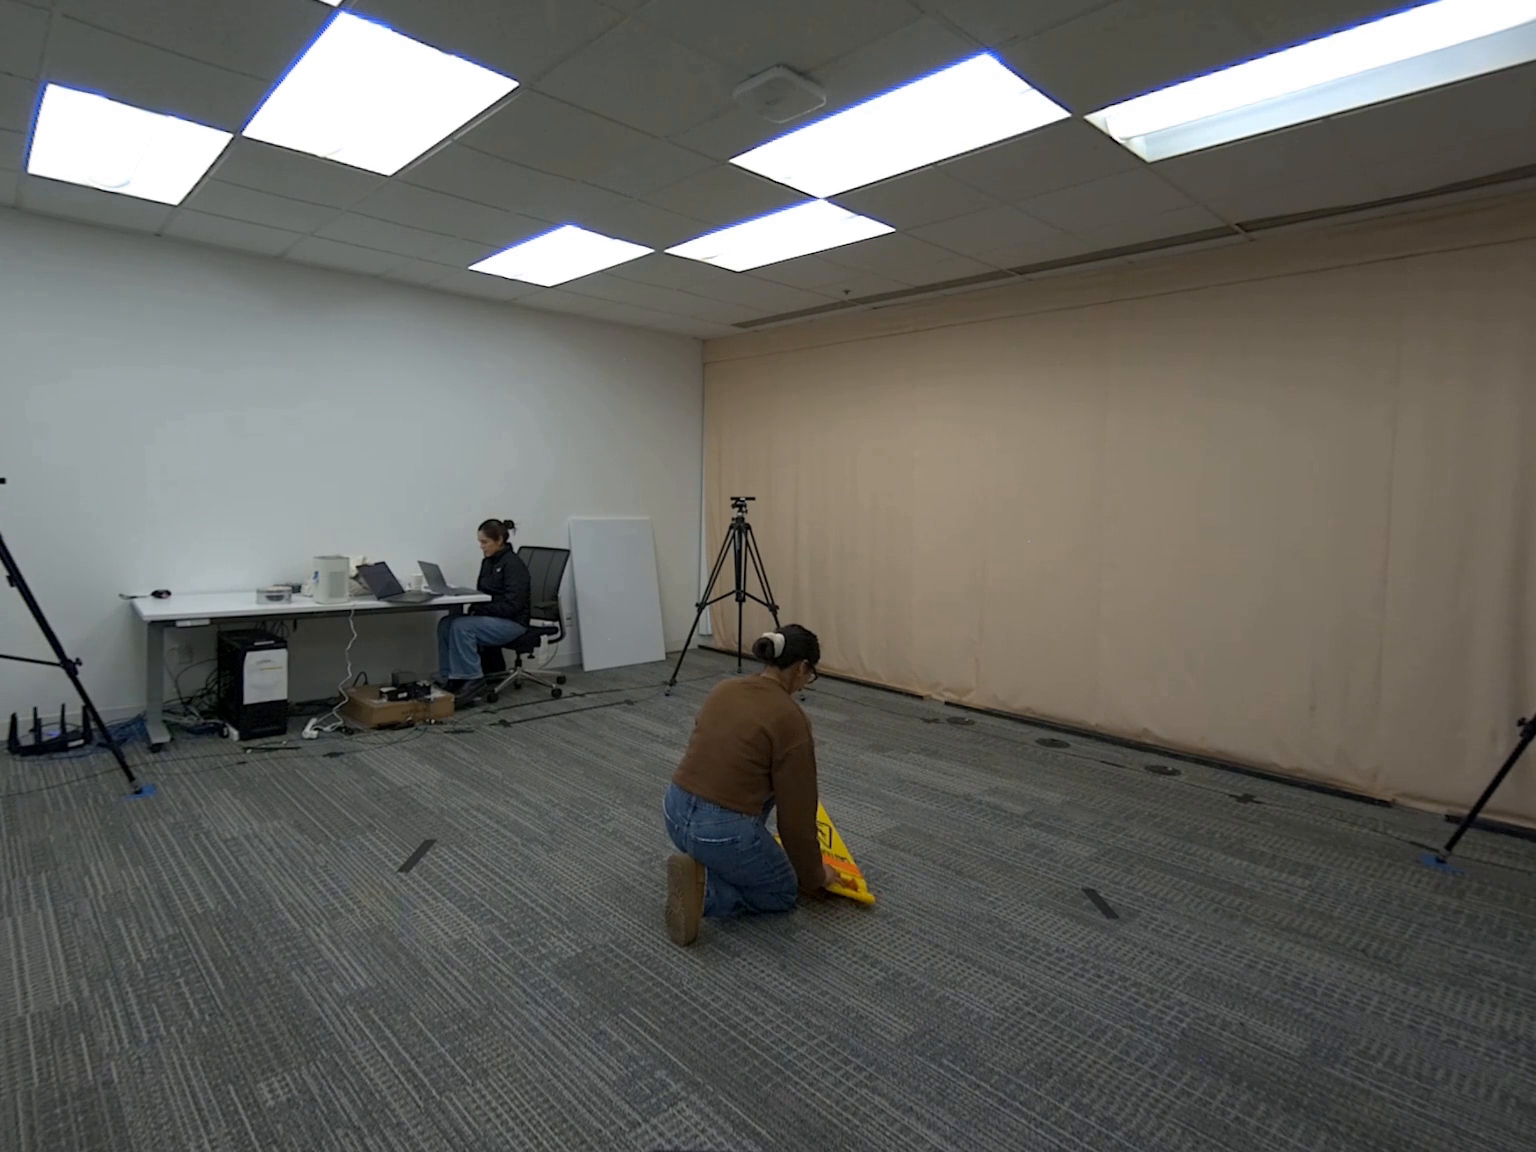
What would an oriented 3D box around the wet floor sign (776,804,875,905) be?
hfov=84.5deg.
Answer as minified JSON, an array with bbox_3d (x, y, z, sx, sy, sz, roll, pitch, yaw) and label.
[{"bbox_3d":[0.145,0.995,3.111,0.275,0.289,0.663,27,1,-29],"label":"wet floor sign"}]
